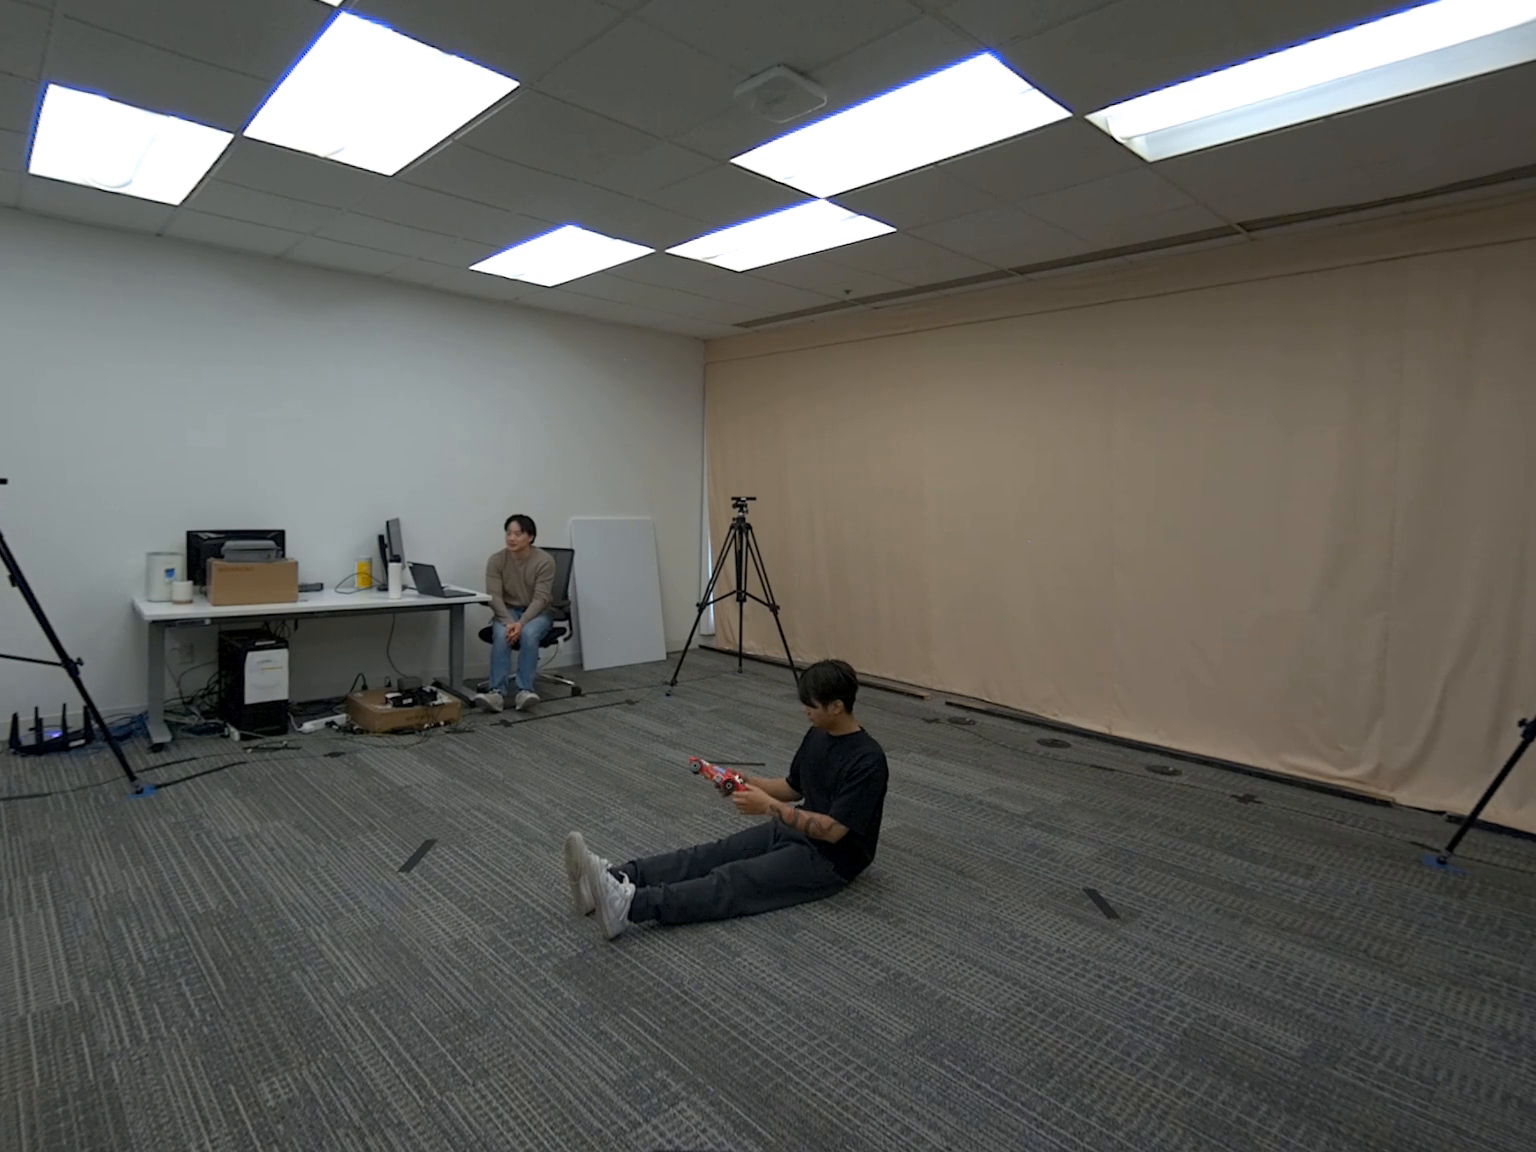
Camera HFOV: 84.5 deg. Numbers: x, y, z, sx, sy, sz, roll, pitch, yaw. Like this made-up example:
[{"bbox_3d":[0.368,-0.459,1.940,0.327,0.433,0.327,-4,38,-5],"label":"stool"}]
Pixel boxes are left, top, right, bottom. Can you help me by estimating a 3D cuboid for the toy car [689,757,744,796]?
[{"bbox_3d":[-0.176,0.767,3.177,0.256,0.084,0.128,18,-18,7],"label":"toy car"}]
